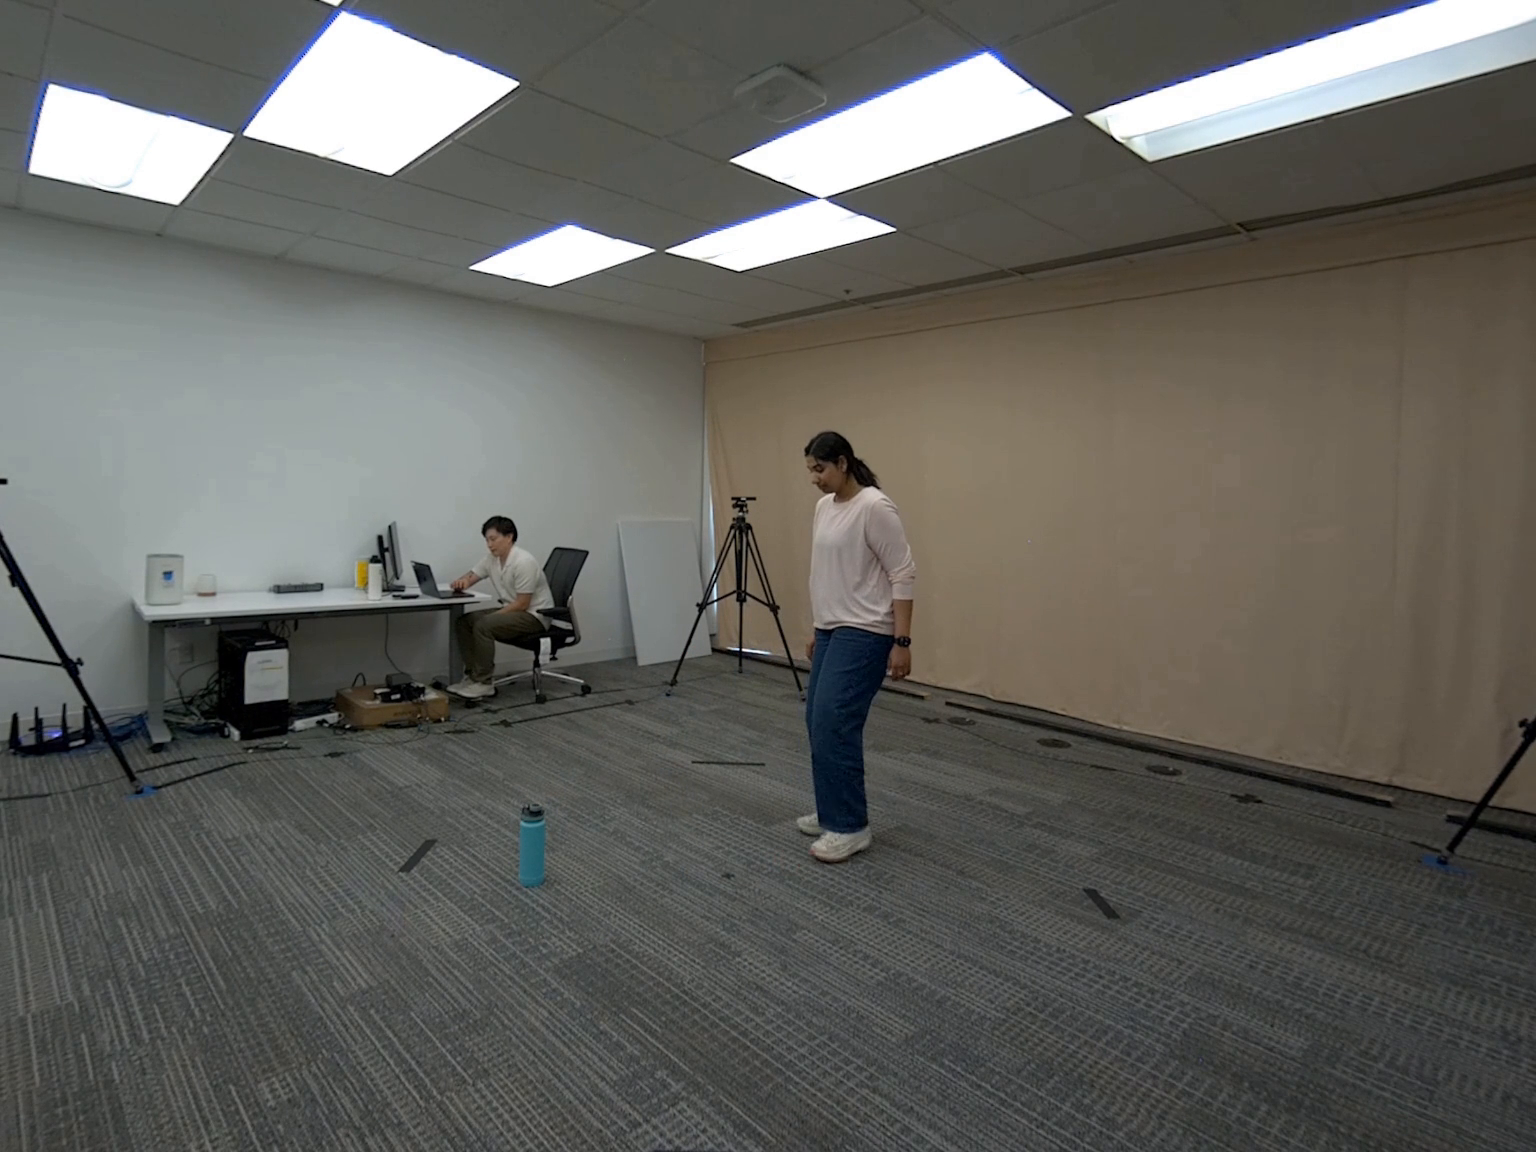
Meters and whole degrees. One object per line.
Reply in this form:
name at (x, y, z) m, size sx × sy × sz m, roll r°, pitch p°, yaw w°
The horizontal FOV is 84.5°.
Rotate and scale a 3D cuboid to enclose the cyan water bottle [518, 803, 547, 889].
cyan water bottle at (-0.859, 0.963, 3.015) m, size 0.092 × 0.282 × 0.093 m, roll 1°, pitch 5°, yaw -1°
